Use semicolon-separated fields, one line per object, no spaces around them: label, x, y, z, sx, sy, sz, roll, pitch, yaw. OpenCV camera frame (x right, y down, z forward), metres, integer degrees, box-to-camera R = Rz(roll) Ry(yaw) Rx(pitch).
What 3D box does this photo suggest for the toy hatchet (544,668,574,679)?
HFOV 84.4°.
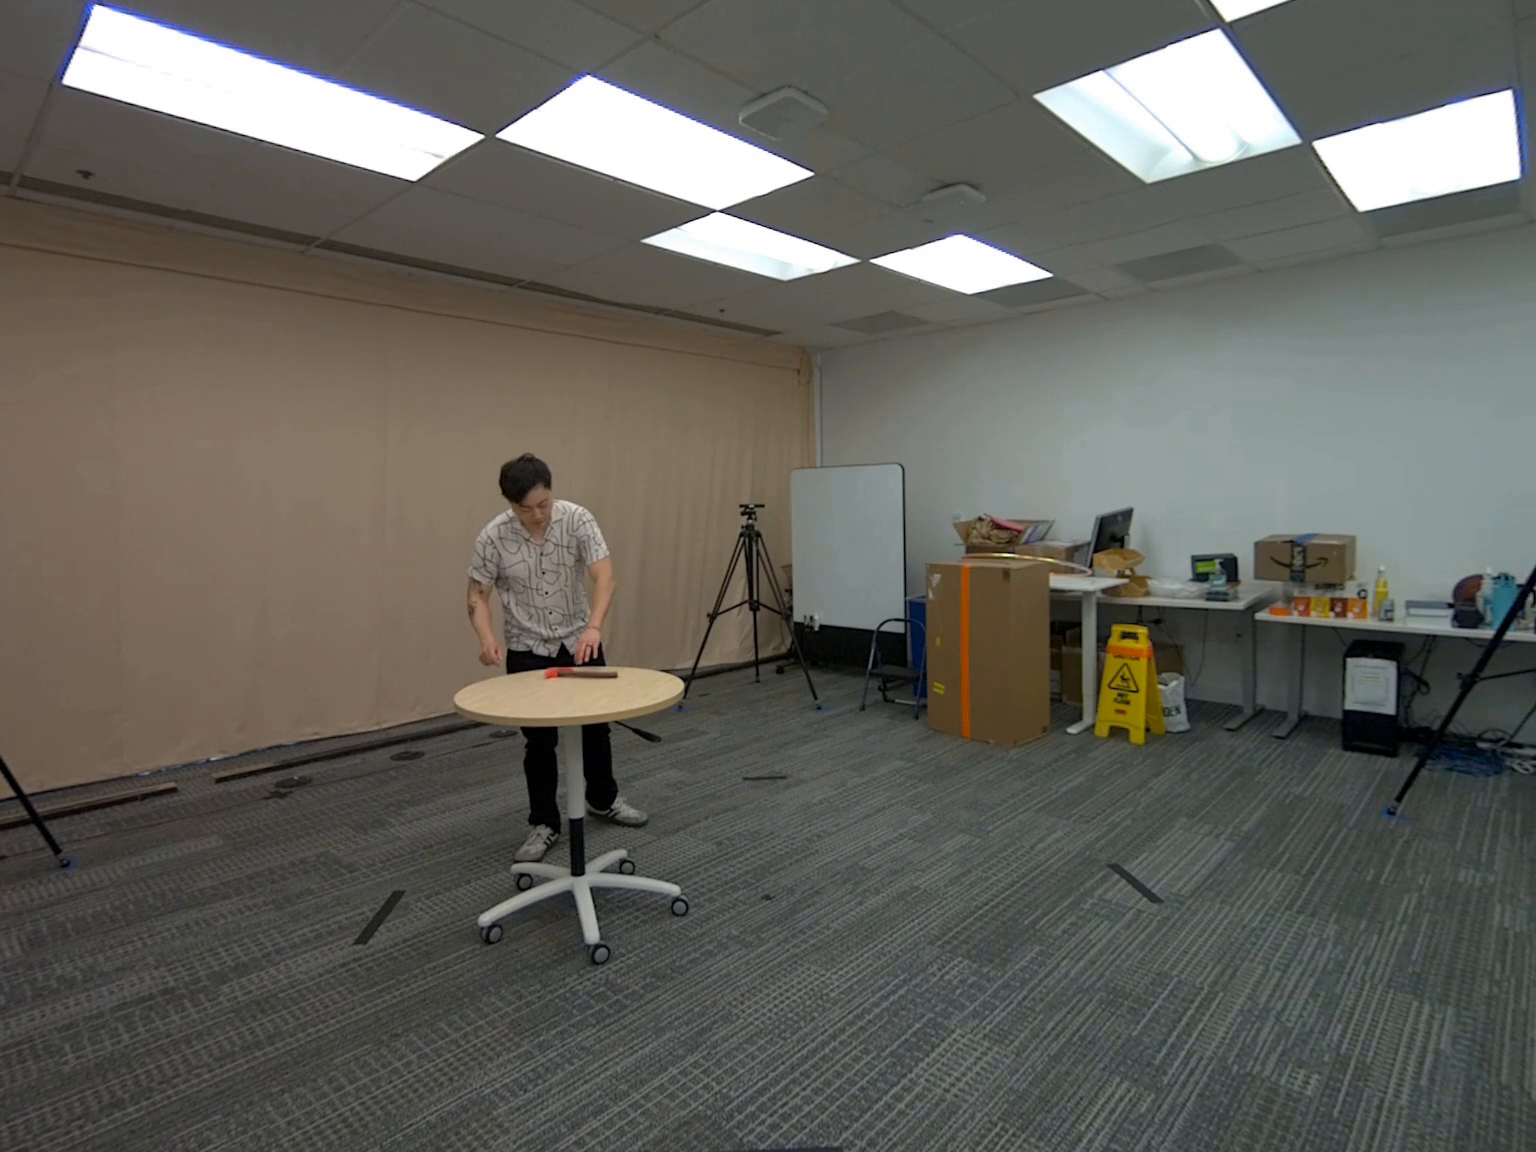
toy hatchet;-0.675;0.352;3.067;0.269;0.029;0.131;0;3;-3
